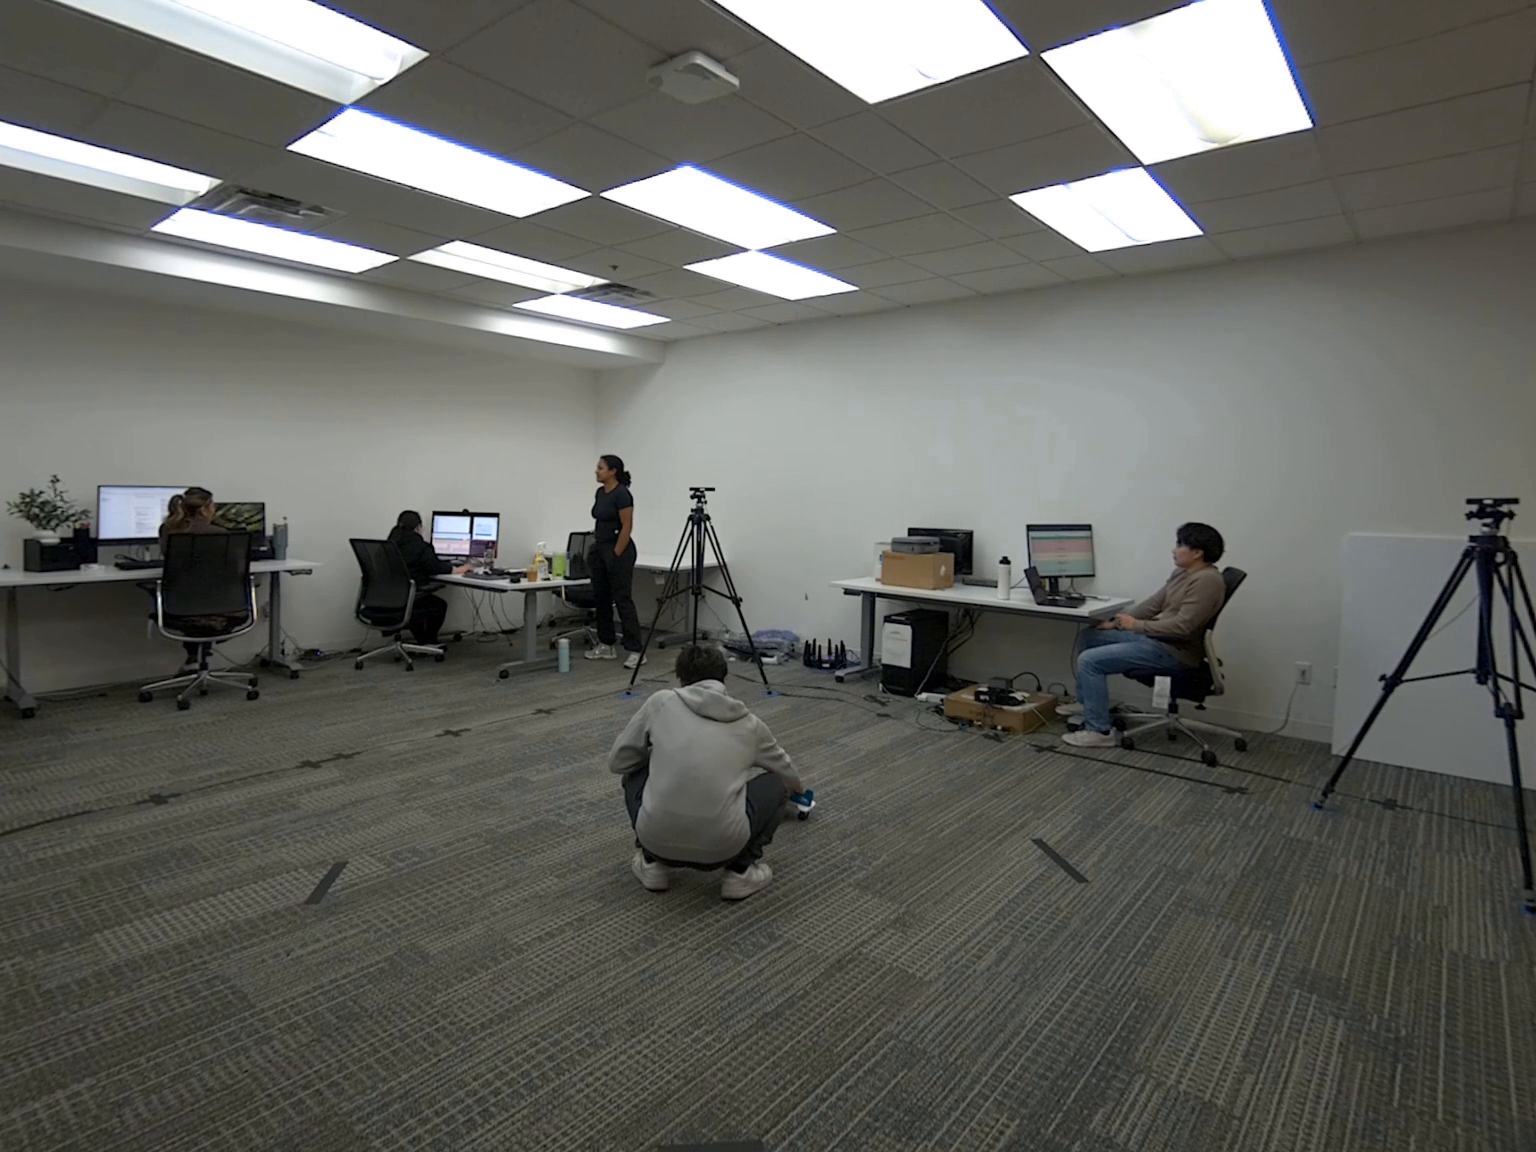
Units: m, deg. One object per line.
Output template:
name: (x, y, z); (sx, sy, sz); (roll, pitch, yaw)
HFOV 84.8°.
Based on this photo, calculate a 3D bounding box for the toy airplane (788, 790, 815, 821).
toy airplane: (0.064, 0.937, 3.664); (0.259, 0.156, 0.252); (0, 4, -2)
